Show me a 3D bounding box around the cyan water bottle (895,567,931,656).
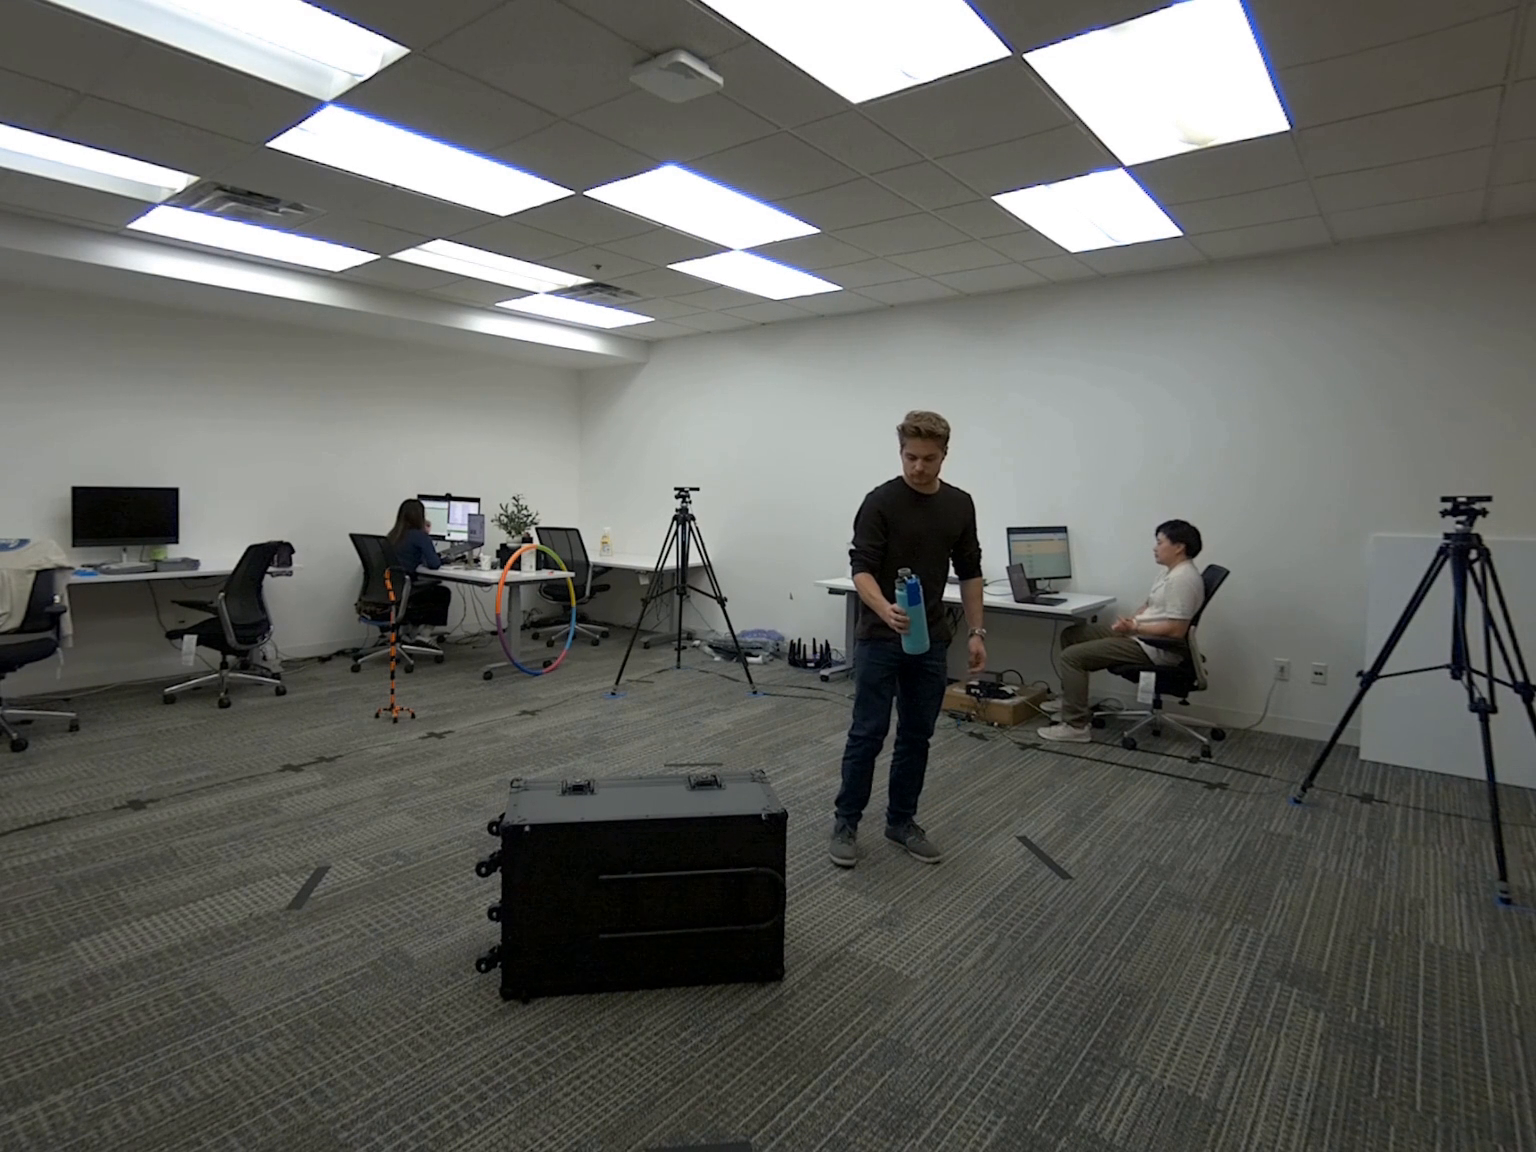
[{"bbox_3d":[0.481,0.112,2.880,0.092,0.278,0.094,-5,18,0],"label":"cyan water bottle"}]
